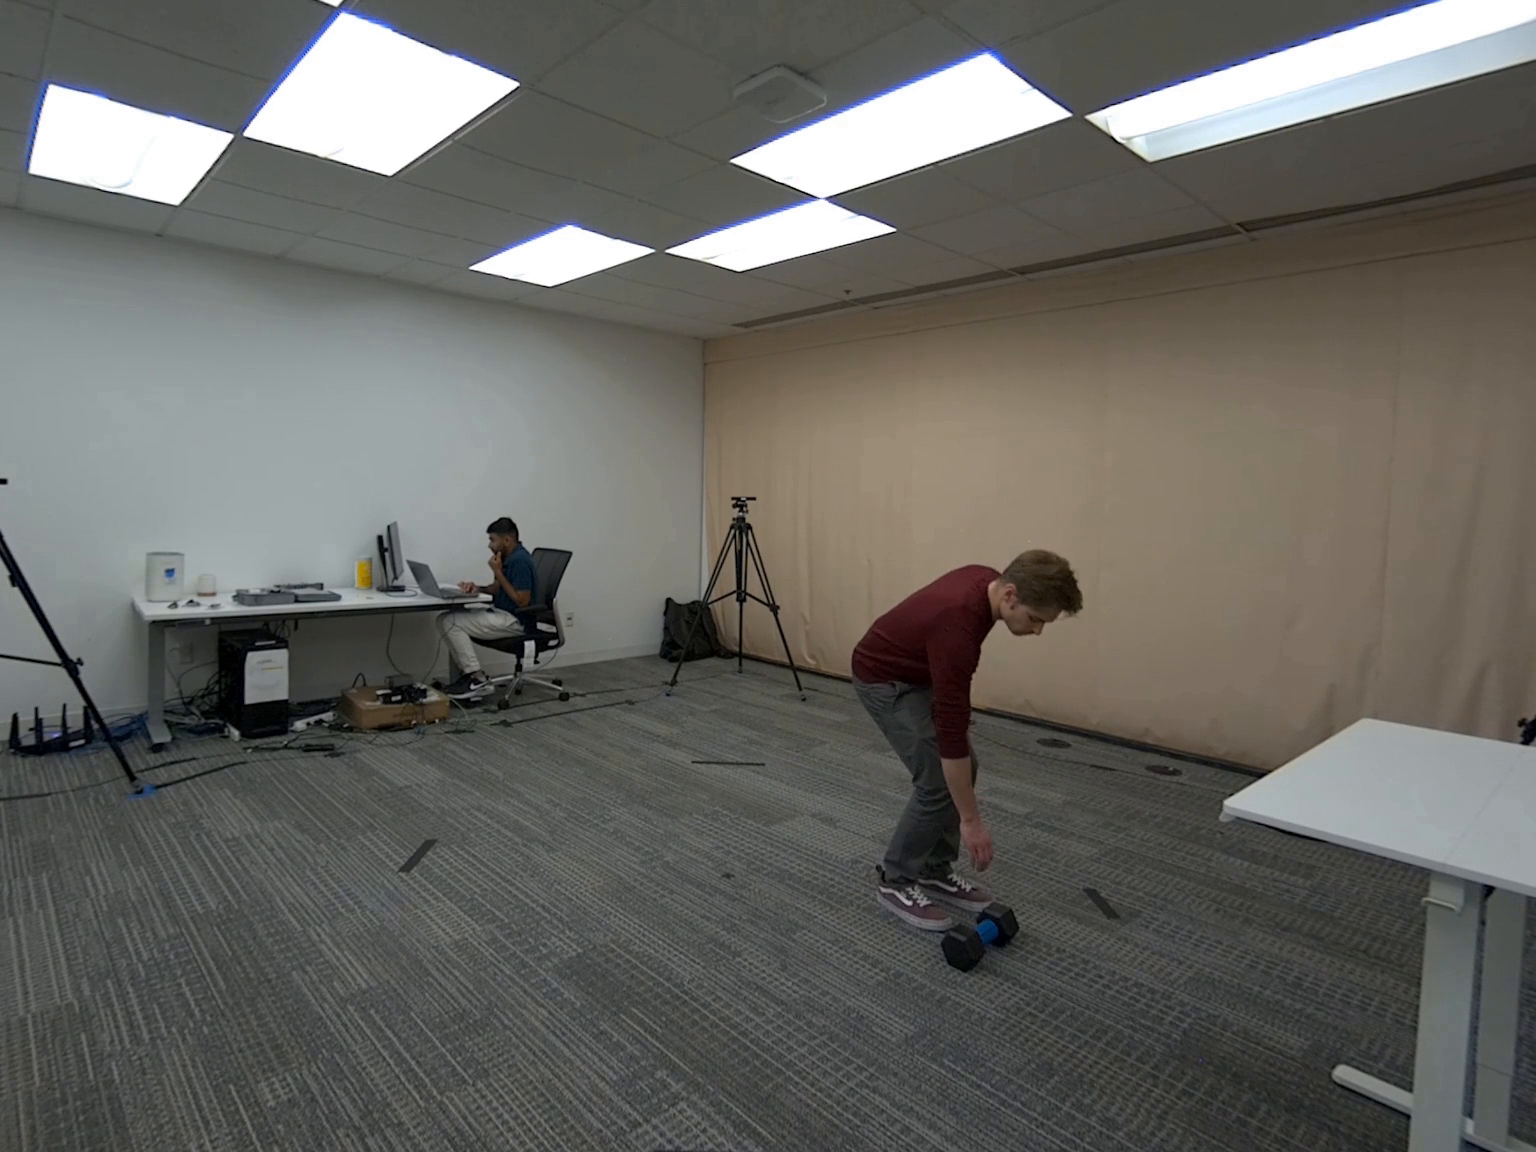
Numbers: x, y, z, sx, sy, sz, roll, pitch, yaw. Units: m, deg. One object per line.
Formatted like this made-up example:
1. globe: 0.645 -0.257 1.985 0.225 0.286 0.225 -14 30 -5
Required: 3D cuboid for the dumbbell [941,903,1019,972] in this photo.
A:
1. dumbbell: 0.655 1.119 2.611 0.287 0.122 0.112 -5 39 -45
